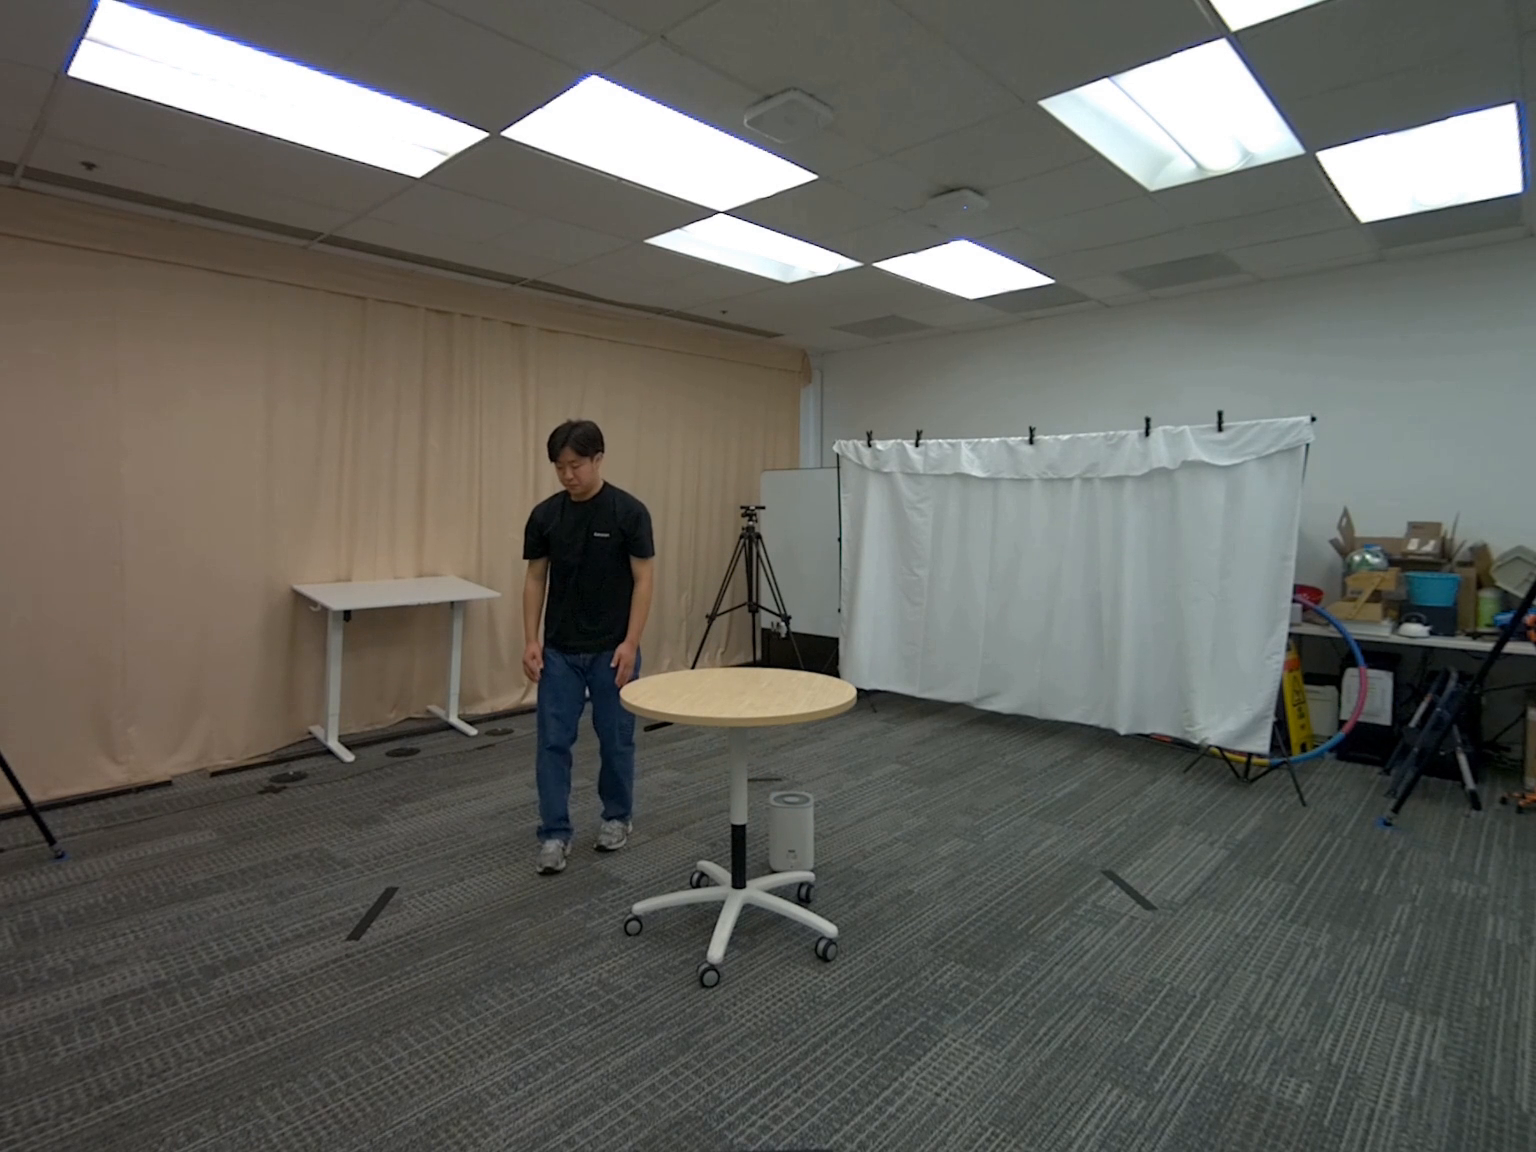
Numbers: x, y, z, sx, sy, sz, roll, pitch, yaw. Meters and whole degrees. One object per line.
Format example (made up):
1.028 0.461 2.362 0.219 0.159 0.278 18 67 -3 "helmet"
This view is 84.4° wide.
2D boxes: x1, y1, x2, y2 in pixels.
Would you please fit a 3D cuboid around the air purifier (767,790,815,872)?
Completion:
0.091 0.985 3.241 0.172 0.265 0.171 1 3 3 "air purifier"
